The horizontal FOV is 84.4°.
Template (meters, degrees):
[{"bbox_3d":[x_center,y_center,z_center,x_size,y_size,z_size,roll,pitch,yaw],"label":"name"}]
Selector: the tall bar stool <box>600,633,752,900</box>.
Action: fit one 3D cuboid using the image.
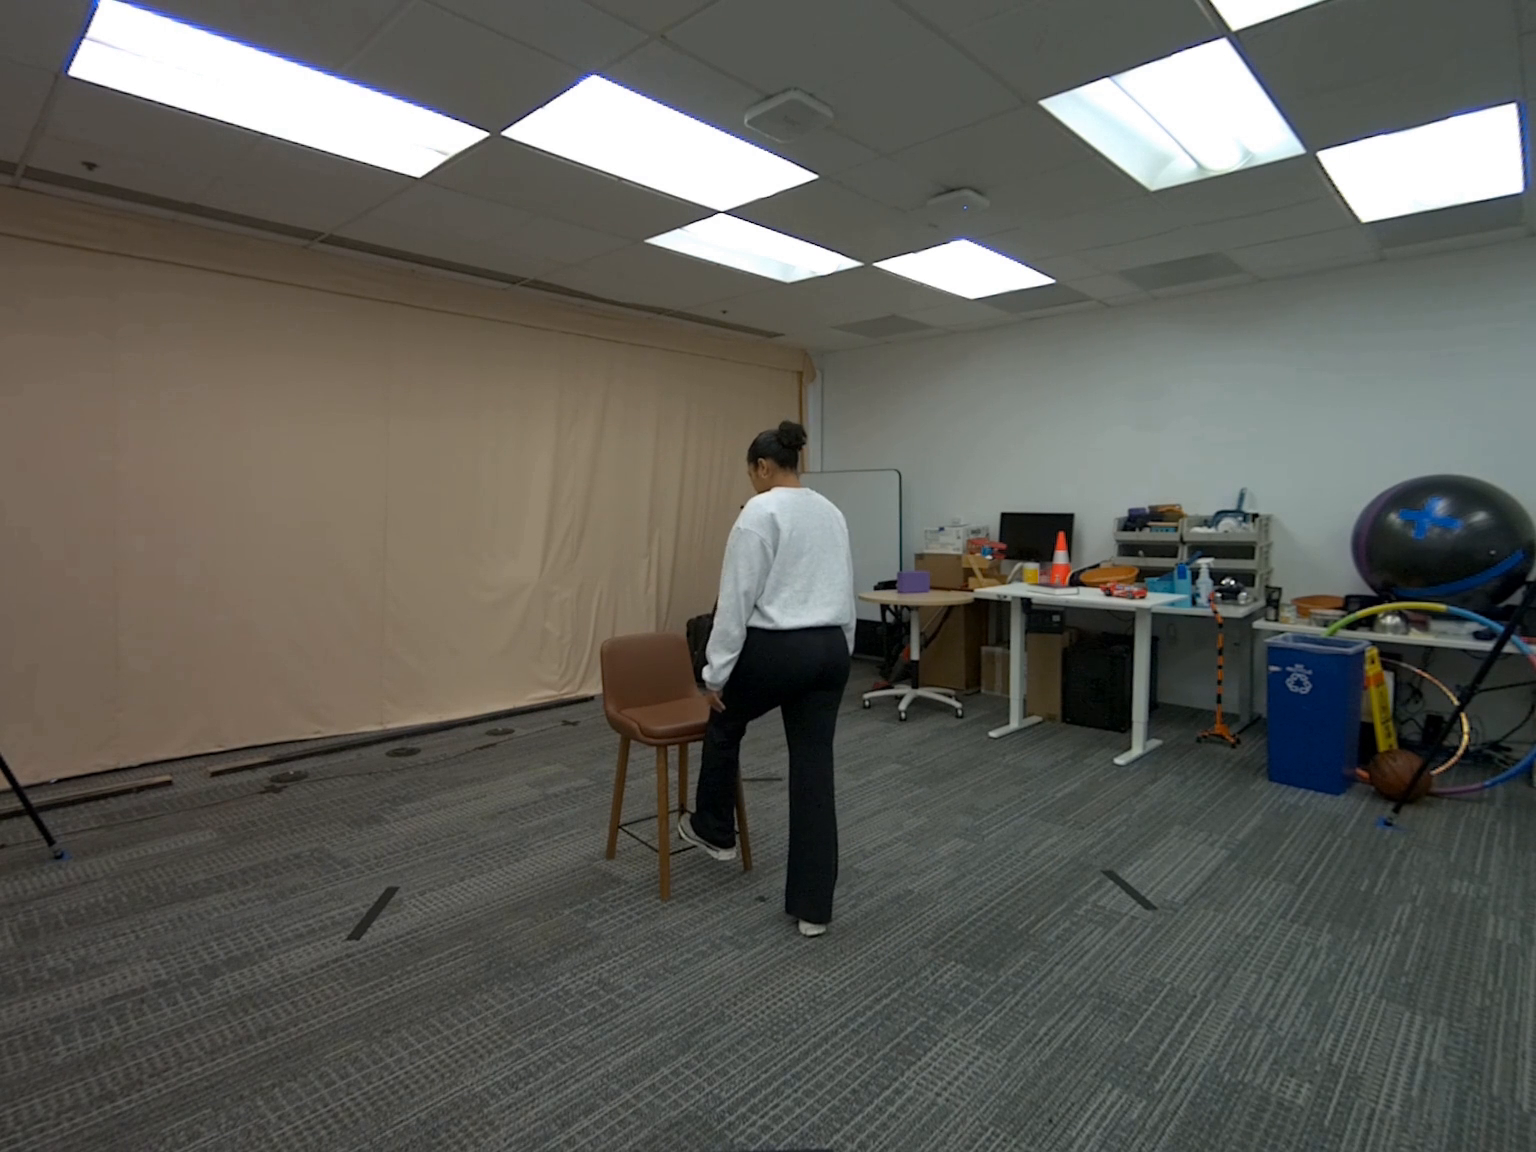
[{"bbox_3d":[-0.367,0.688,3.256,0.443,0.889,0.482,-3,2,-39],"label":"tall bar stool"}]
